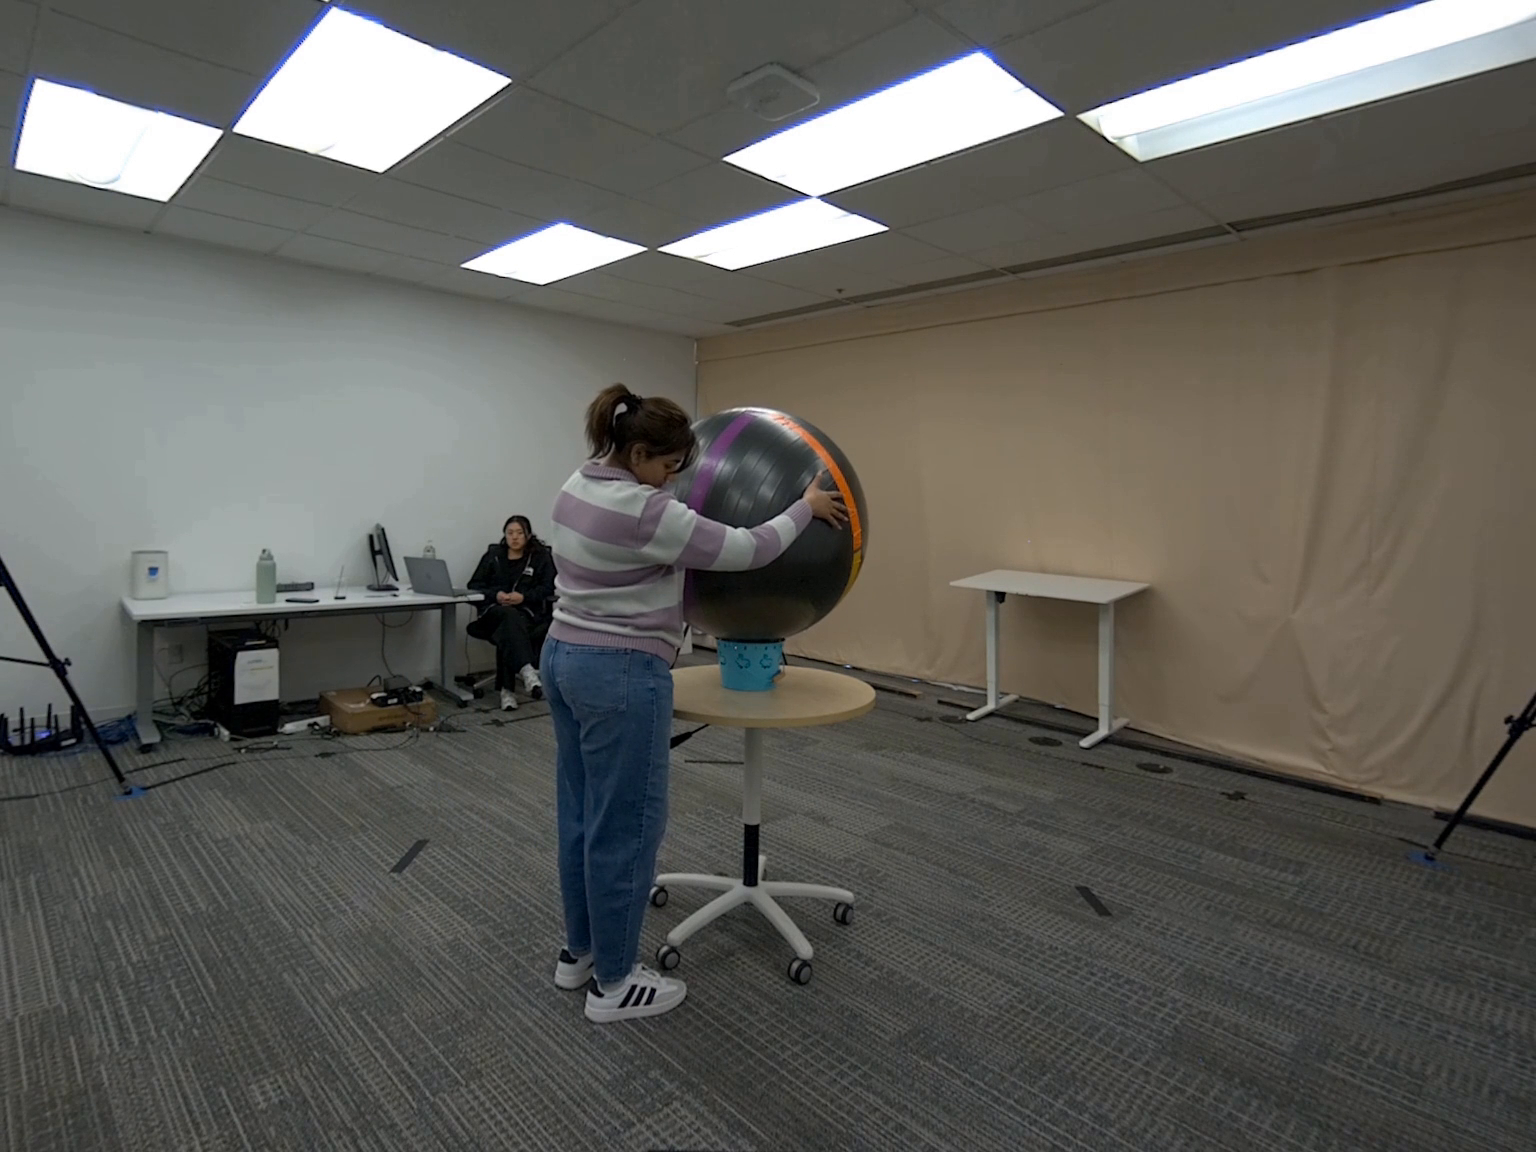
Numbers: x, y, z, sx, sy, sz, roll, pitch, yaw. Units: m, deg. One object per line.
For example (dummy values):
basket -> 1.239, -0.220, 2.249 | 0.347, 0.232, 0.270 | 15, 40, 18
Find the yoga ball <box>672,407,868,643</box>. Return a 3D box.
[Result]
yoga ball -> -0.051, -0.162, 2.736 | 0.757, 0.756, 0.761 | 1, 4, -1
